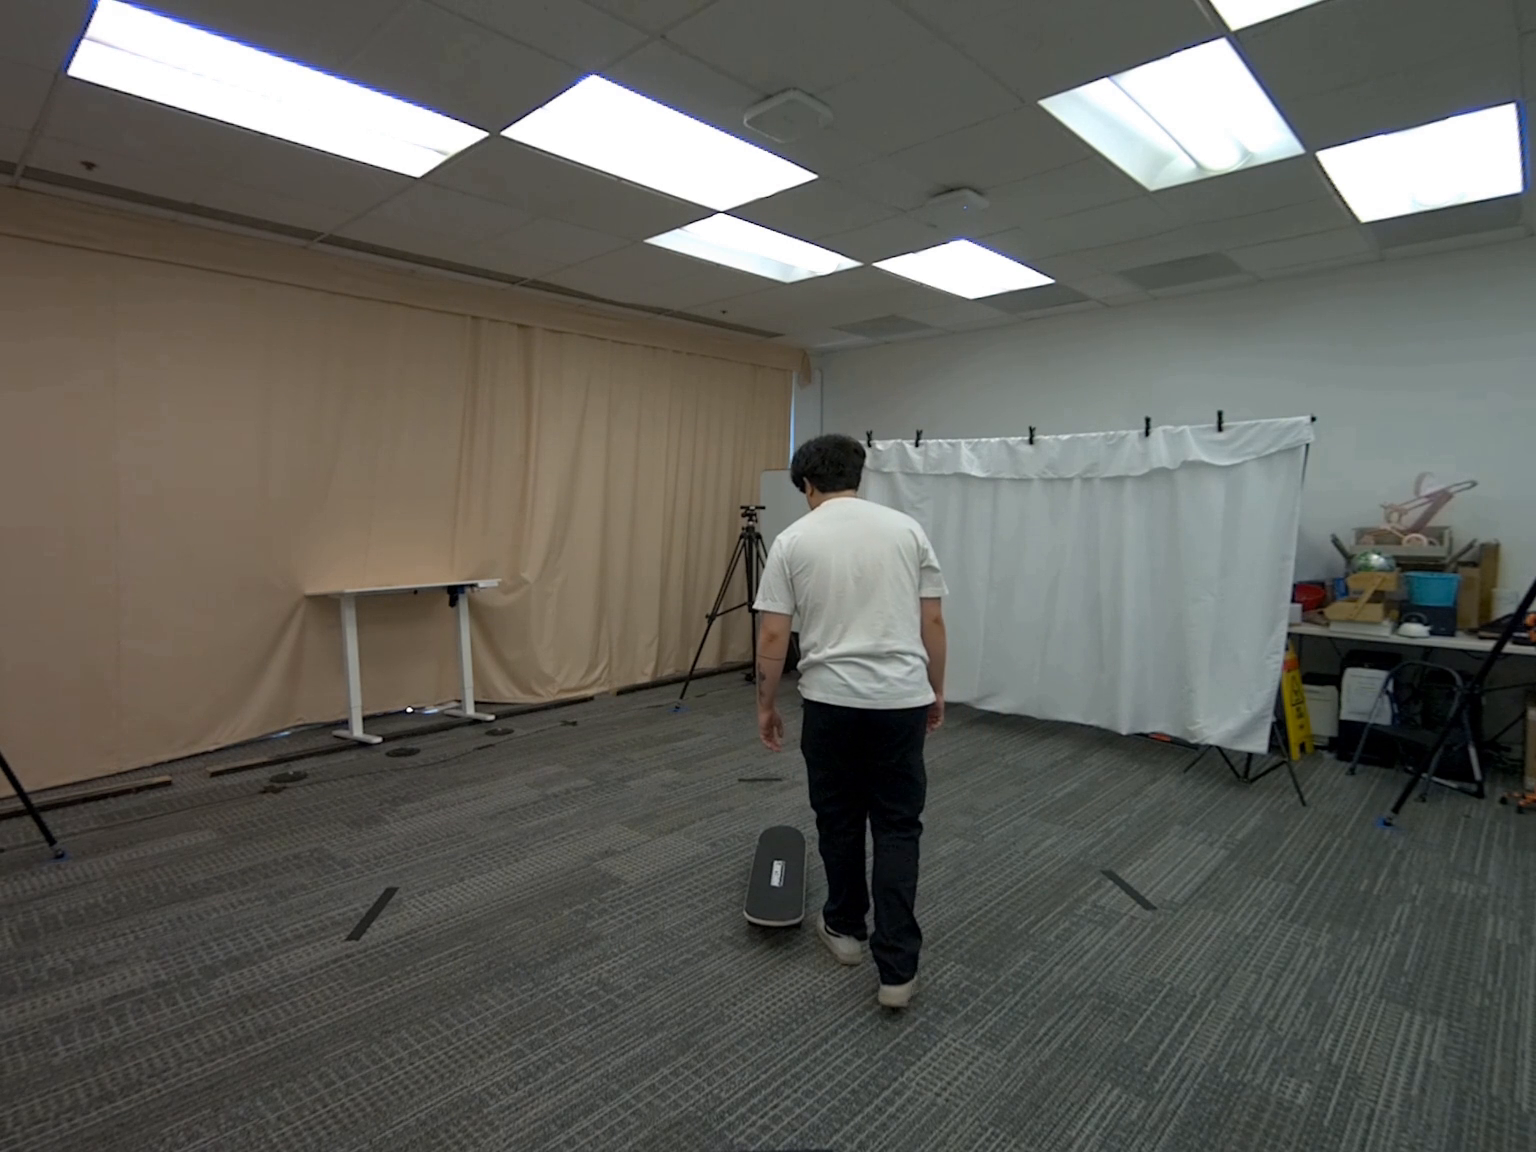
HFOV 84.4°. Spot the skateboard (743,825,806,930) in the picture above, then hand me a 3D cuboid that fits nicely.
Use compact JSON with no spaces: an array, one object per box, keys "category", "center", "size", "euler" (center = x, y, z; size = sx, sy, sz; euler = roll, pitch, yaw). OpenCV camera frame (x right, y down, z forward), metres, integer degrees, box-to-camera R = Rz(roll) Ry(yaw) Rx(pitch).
[{"category":"skateboard","center":[0.040,1.086,2.990],"size":[0.194,0.110,0.783],"euler":[0,5,3]}]
